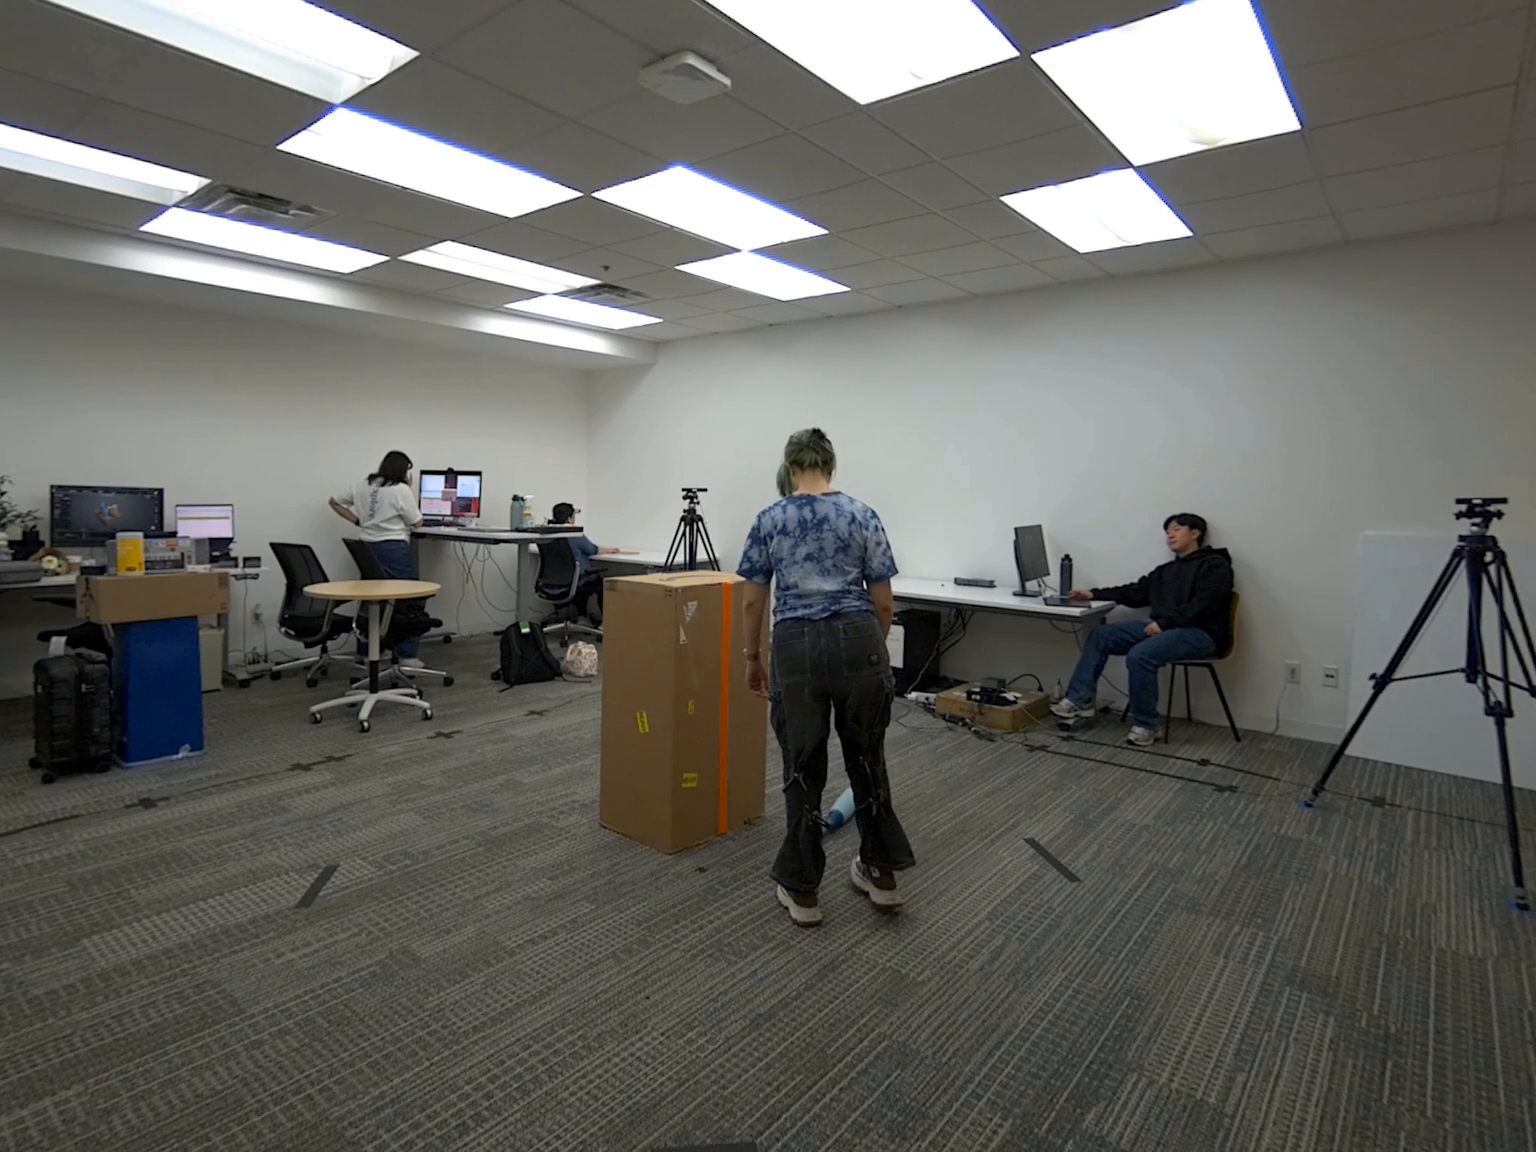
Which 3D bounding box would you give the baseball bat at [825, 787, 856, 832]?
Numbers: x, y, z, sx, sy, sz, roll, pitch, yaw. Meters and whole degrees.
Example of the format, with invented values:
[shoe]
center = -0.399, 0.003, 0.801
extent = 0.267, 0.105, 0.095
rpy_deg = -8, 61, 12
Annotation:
[baseball bat]
center = 0.266, 1.014, 3.519
extent = 0.091, 0.088, 0.534
rpy_deg = 2, 9, 22
